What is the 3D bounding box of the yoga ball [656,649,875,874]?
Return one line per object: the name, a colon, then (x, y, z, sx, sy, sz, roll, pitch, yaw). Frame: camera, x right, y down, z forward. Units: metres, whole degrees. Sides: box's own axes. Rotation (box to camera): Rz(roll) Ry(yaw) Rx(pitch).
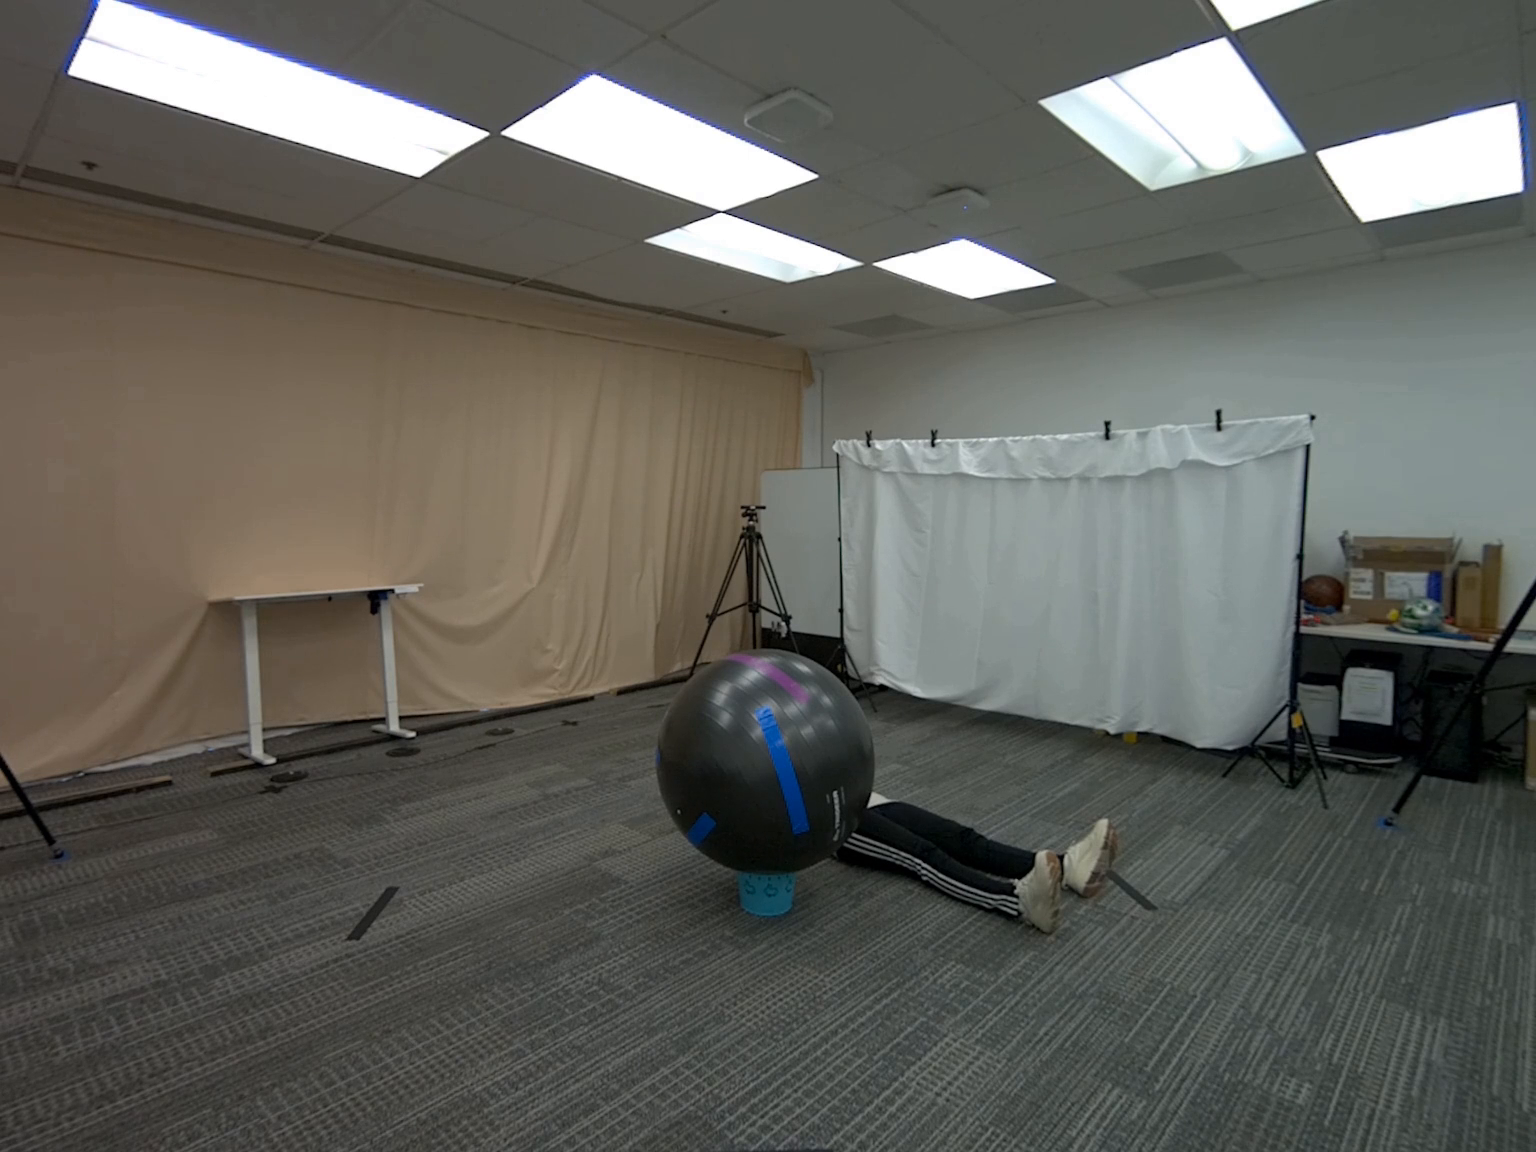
yoga ball: (-0.004, 0.635, 2.931, 0.757, 0.756, 0.760, 0, 4, -2)
